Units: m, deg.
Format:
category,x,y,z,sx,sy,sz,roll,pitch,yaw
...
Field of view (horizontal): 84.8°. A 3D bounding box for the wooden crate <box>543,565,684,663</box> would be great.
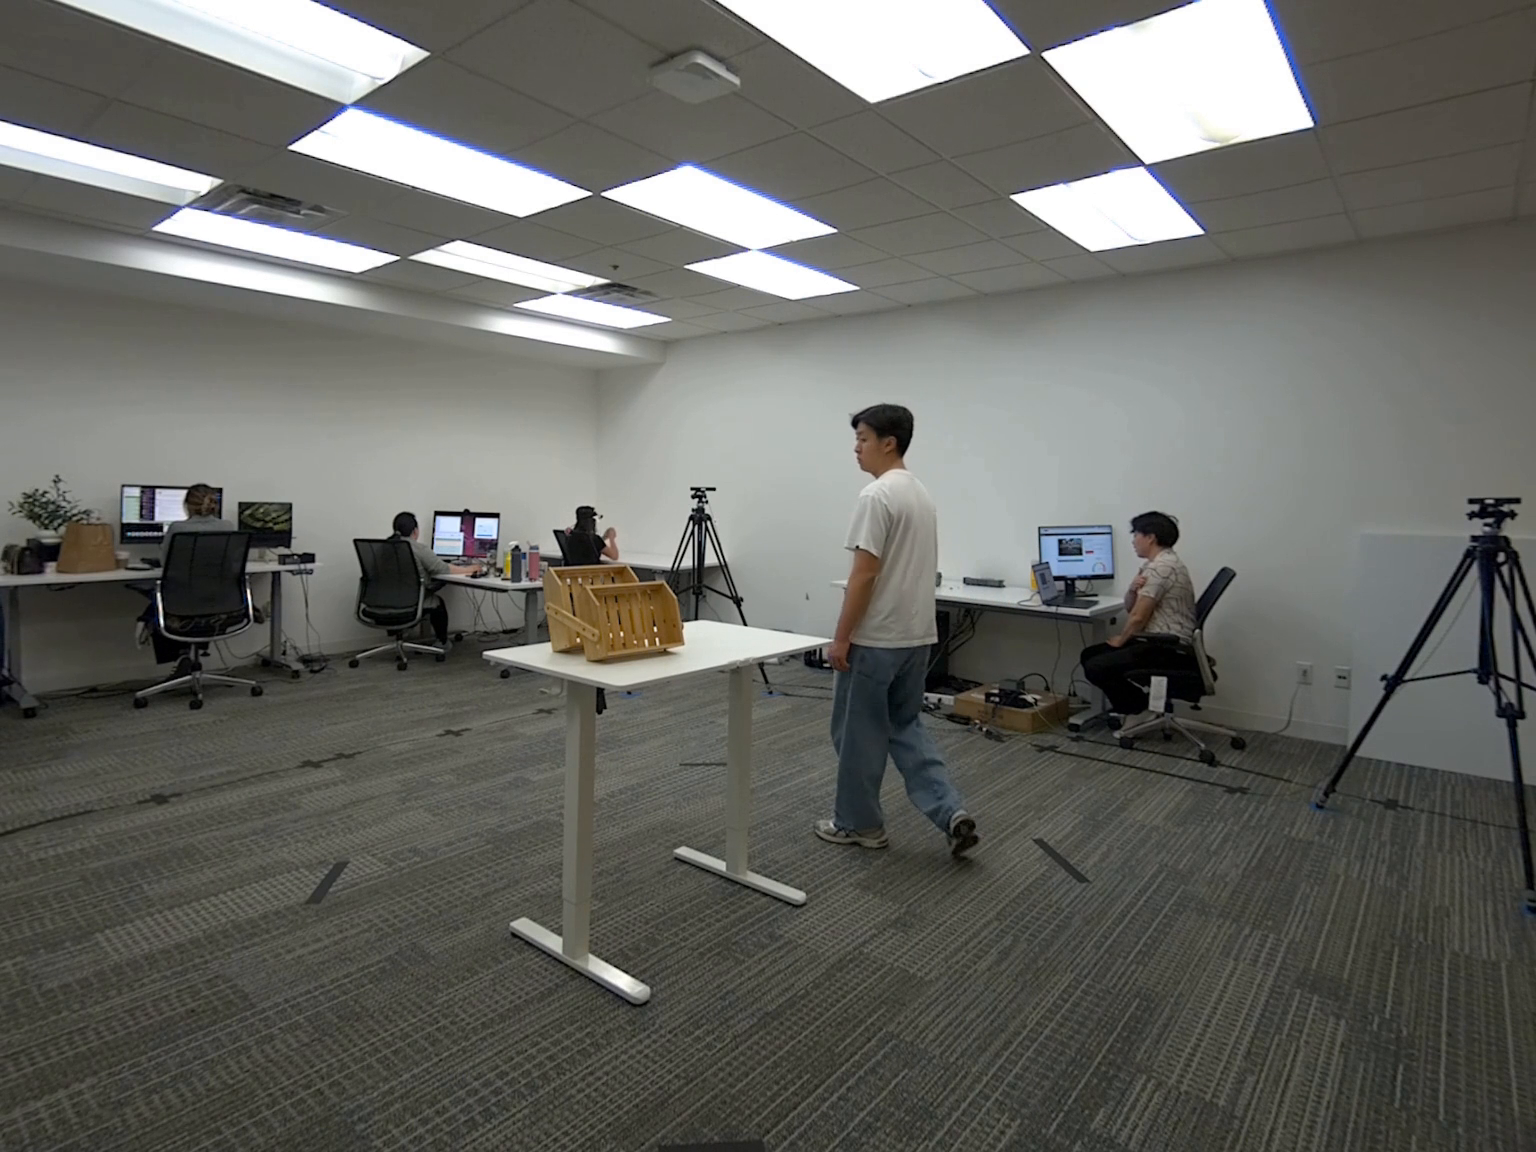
category,x,y,z,sx,sy,sz,roll,pitch,yaw
wooden crate,-0.479,0.097,2.590,0.314,0.305,0.279,-3,-10,-46
